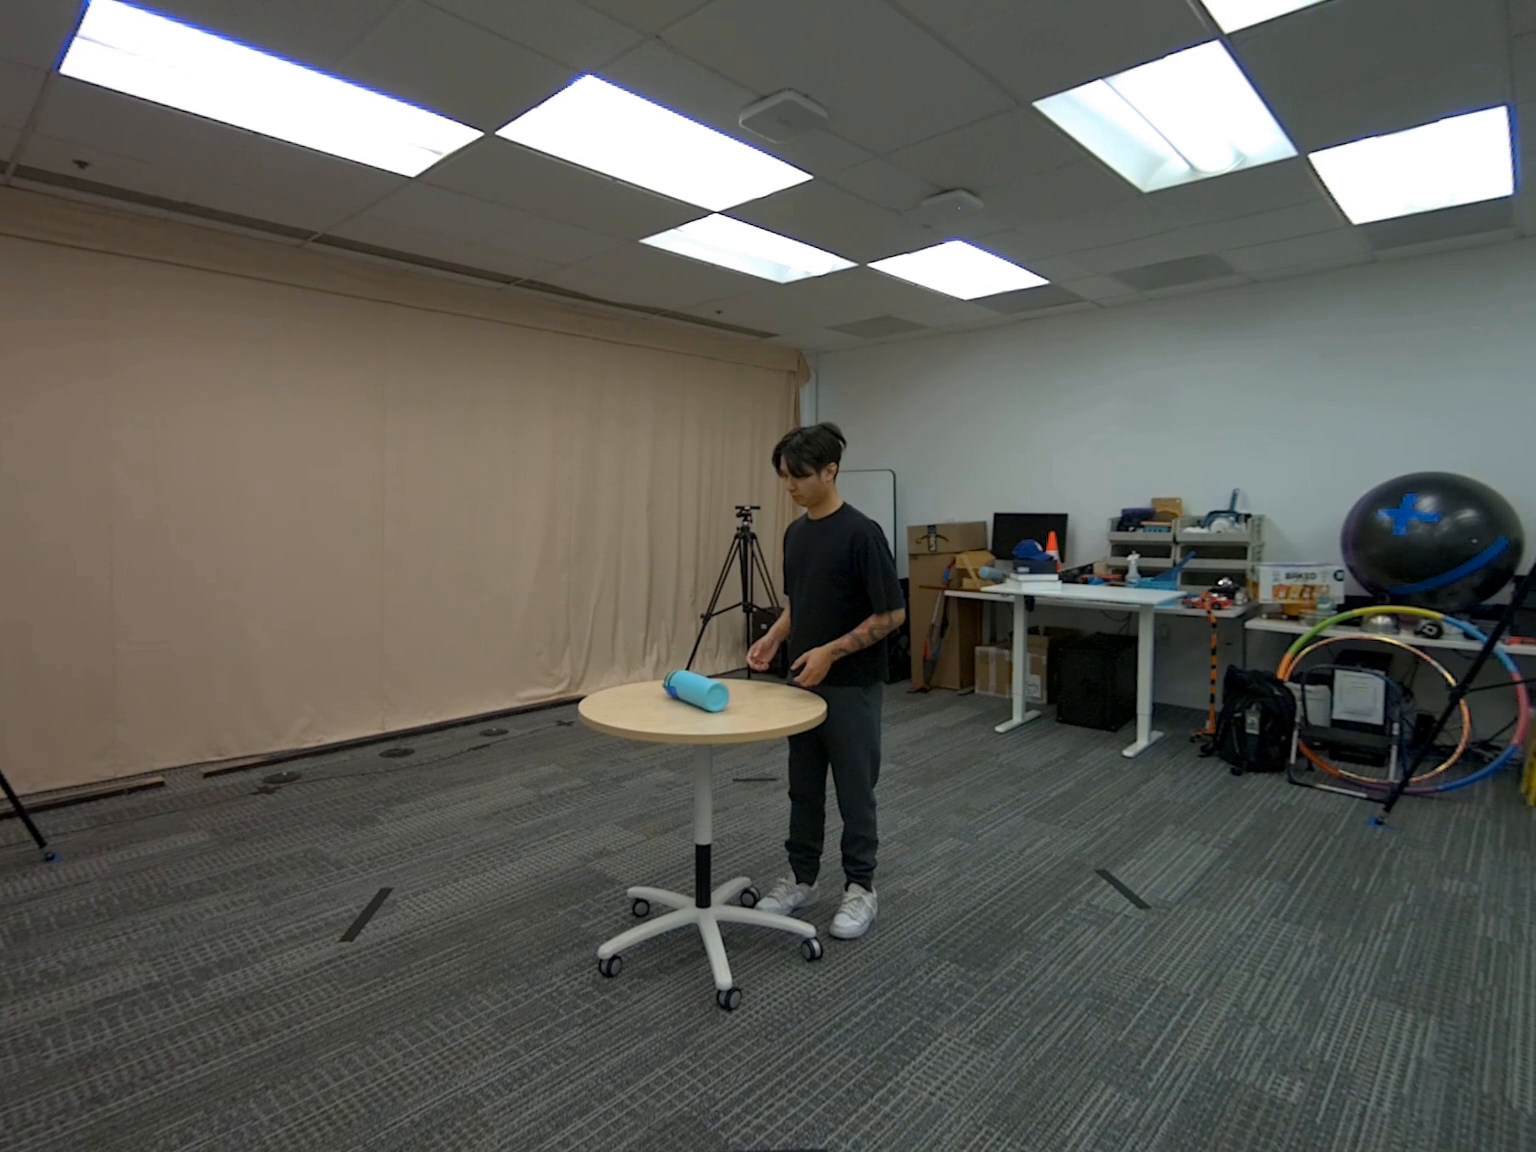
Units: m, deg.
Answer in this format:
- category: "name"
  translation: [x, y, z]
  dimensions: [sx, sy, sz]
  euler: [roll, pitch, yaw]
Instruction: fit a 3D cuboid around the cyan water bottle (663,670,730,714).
- category: "cyan water bottle"
  translation: [-0.220, 0.346, 2.610]
  dimensions: [0.090, 0.092, 0.292]
  euler: [-2, 4, -31]
